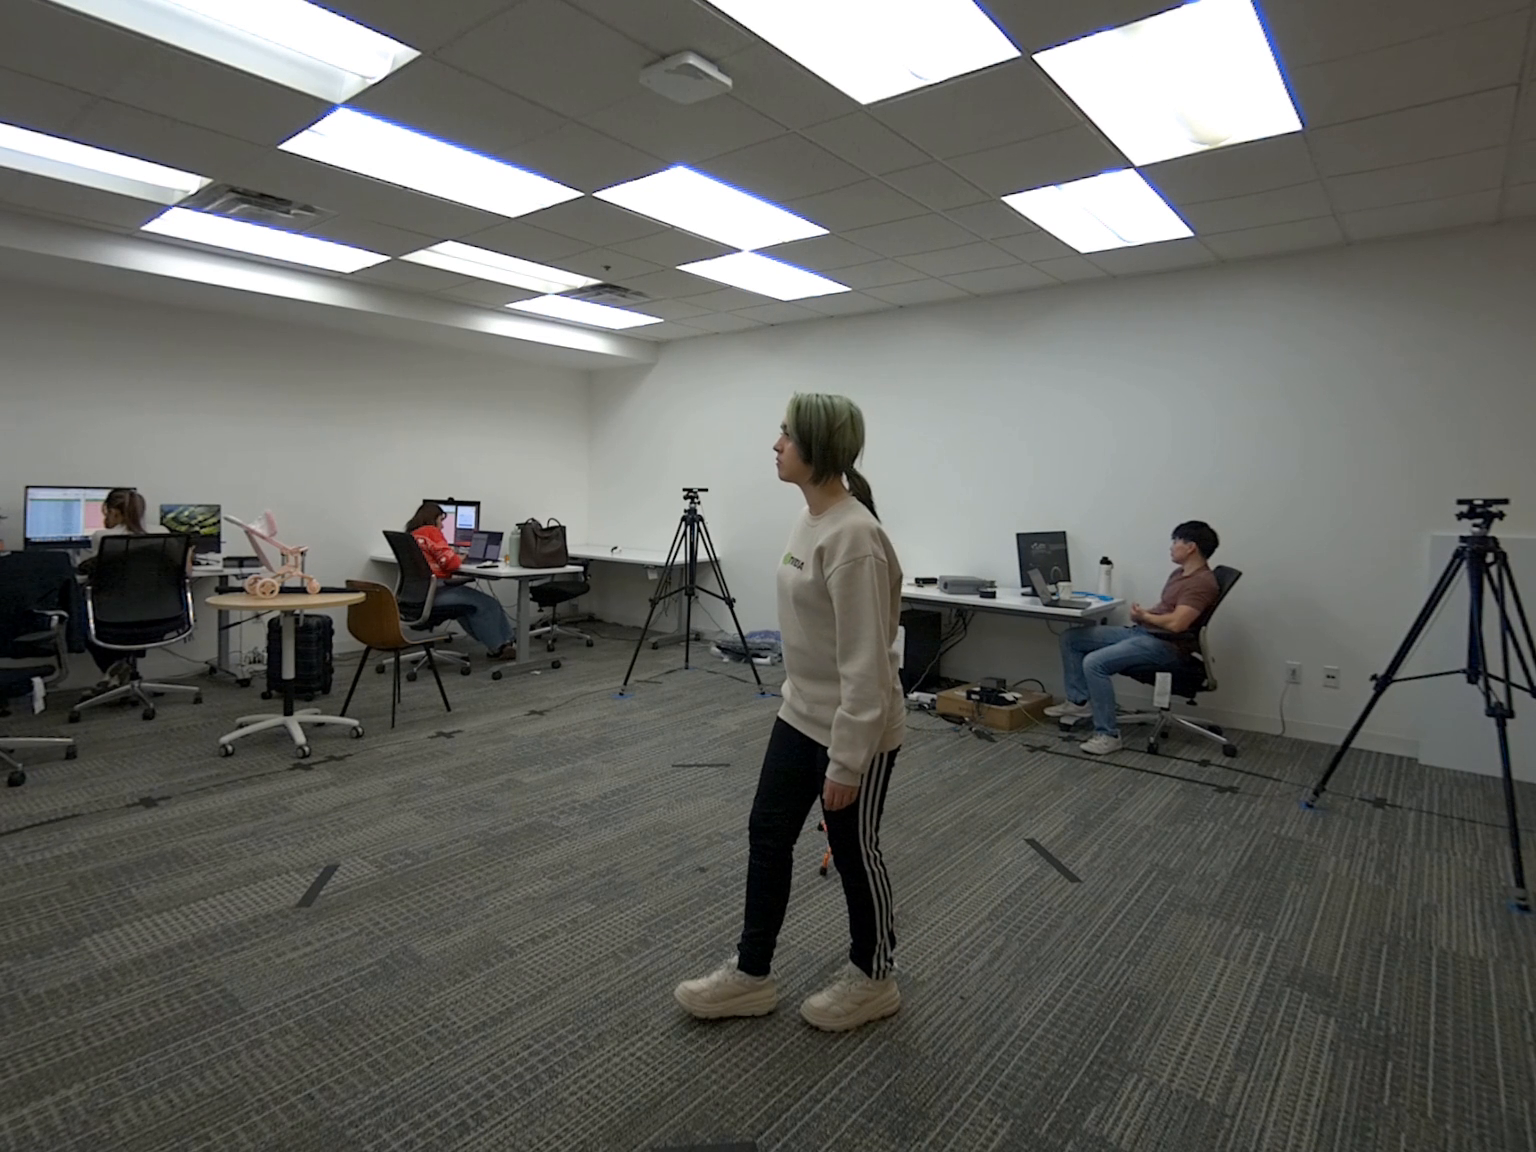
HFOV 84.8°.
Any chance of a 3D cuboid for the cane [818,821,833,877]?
[{"bbox_3d":[0.257,0.677,2.873,0.152,0.882,0.212,1,41,0],"label":"cane"}]
